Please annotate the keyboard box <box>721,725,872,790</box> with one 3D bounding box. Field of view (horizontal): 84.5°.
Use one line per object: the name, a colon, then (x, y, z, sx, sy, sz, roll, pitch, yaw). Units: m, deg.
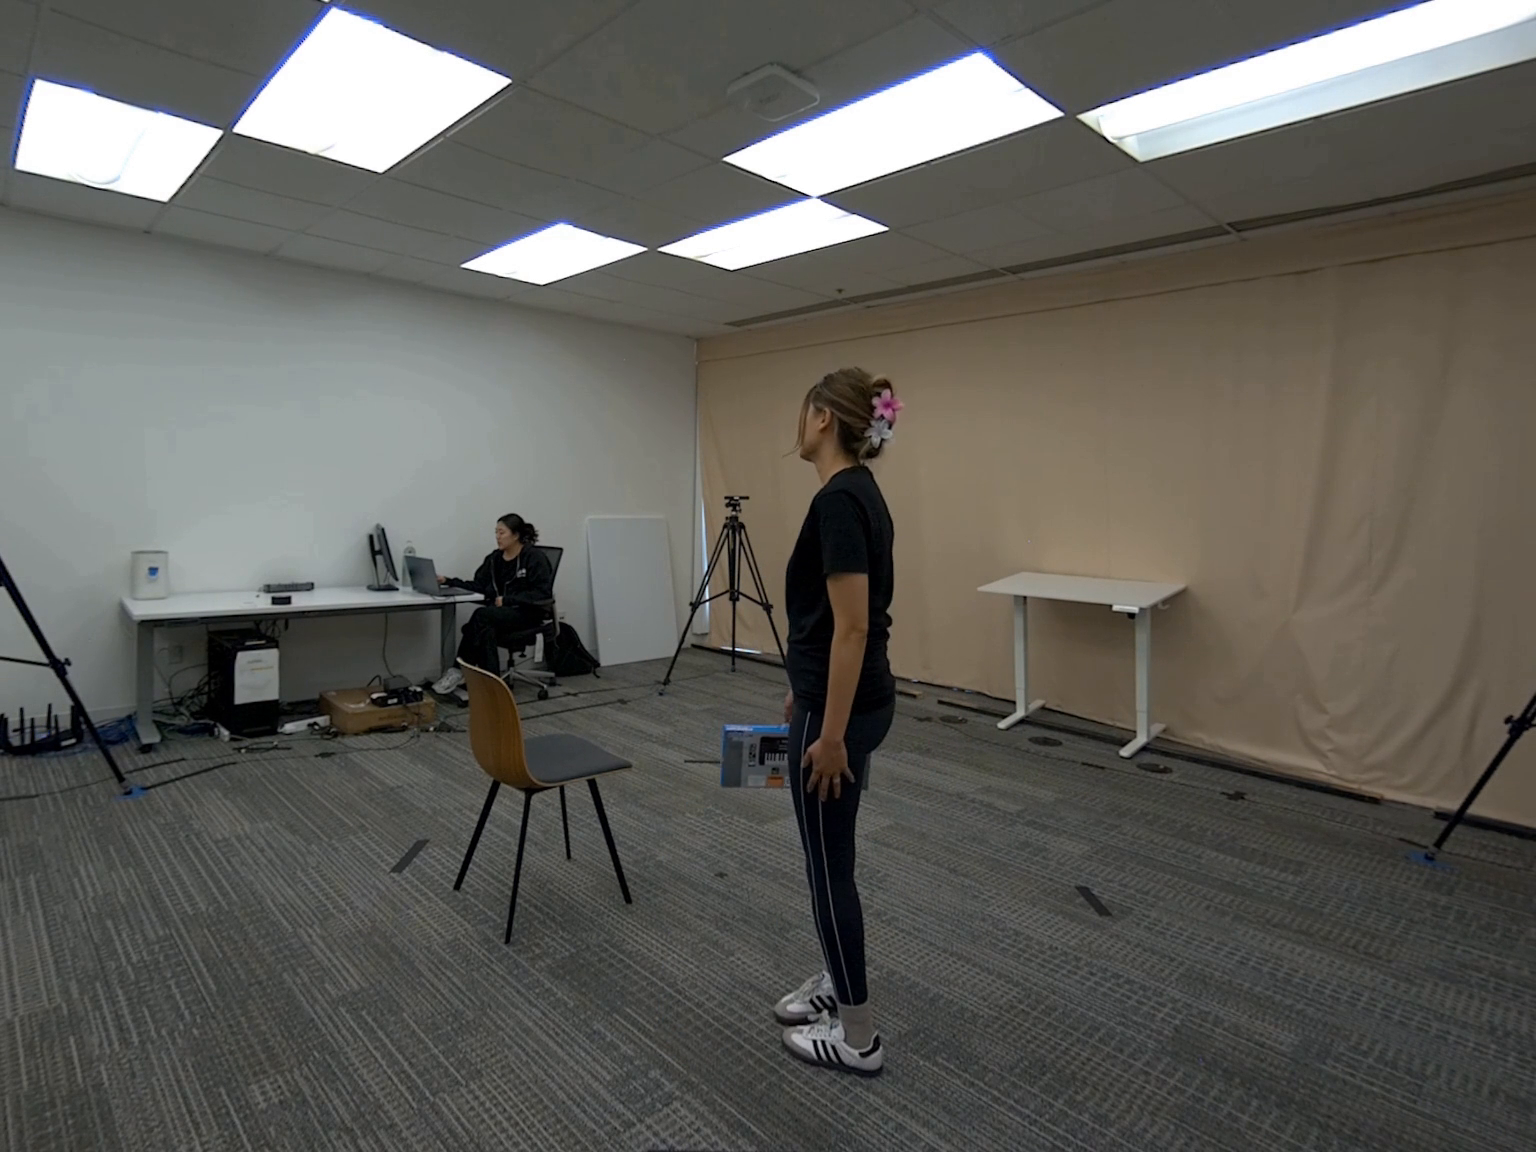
keyboard box: (0.082, 0.536, 2.472, 0.435, 0.175, 0.059, 3, 5, -6)
